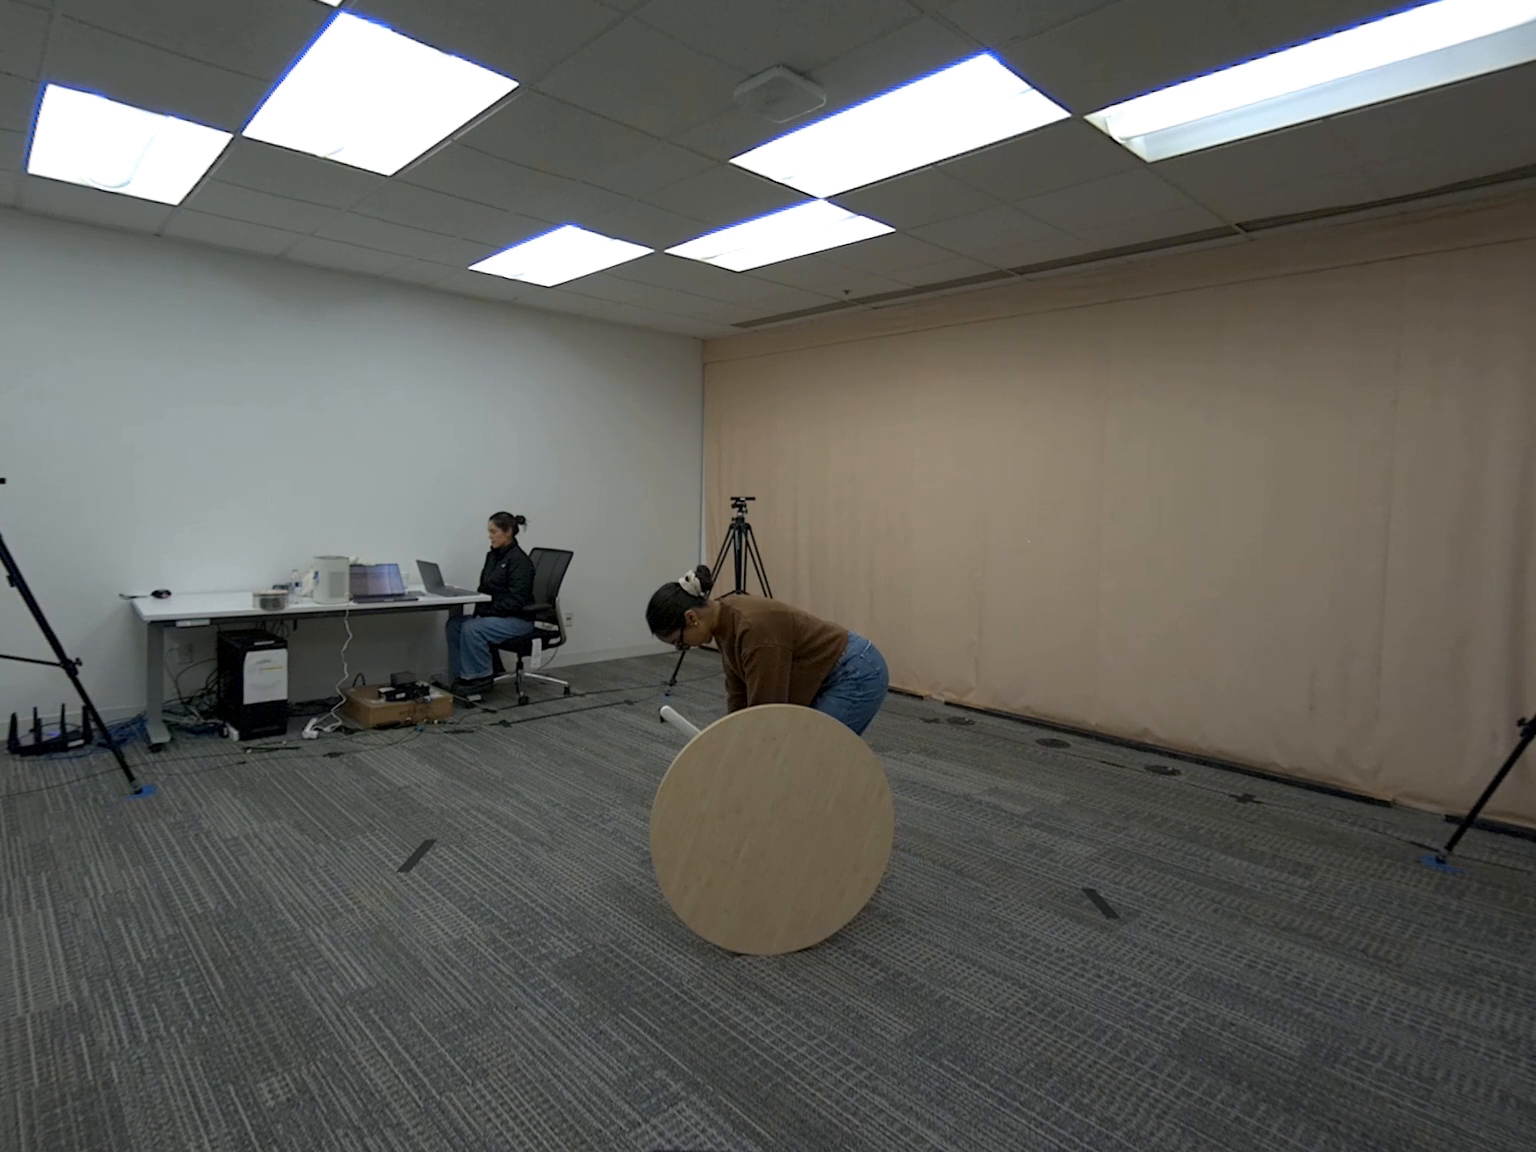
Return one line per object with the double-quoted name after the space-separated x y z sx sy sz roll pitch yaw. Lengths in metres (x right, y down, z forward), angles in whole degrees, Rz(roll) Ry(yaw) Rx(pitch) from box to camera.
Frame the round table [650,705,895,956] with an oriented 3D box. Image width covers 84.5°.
-0.069 0.761 2.958 0.757 0.763 0.802 0 2 -12 "round table"
